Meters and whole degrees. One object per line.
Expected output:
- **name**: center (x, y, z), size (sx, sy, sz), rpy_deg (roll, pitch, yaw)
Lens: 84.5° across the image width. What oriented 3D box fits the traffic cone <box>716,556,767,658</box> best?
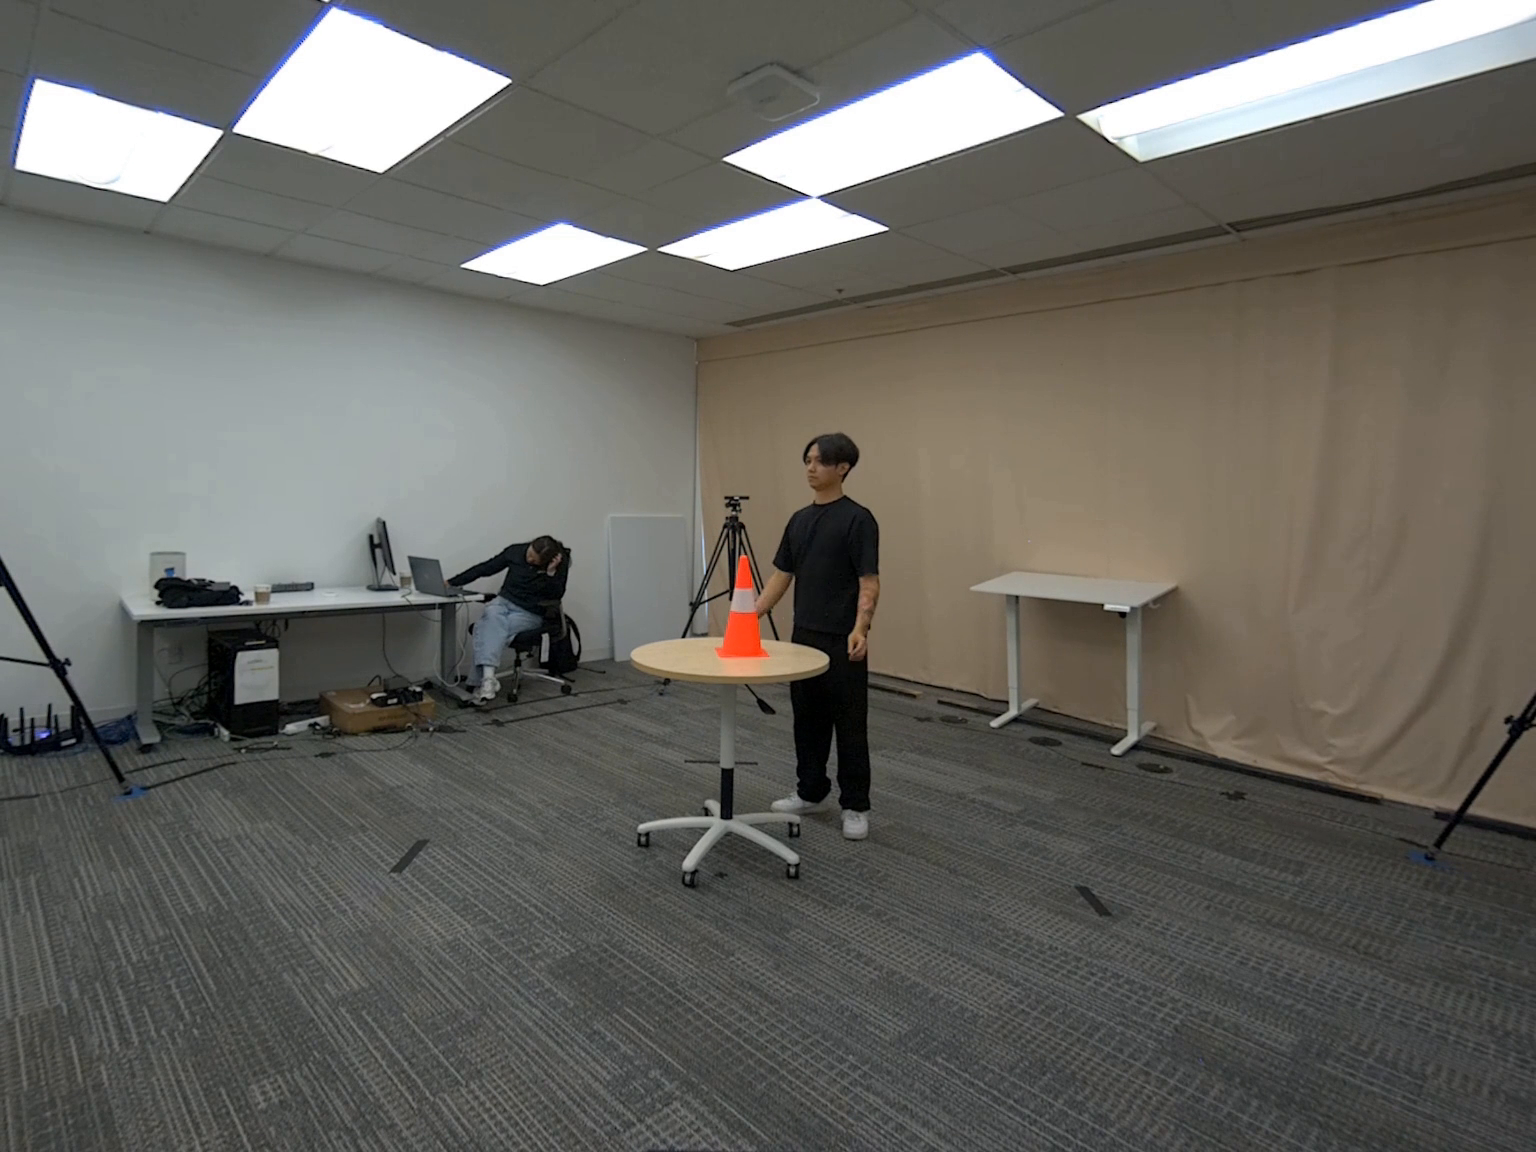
- **traffic cone**: center (-0.102, 0.116, 3.285), size (0.202, 0.382, 0.207), rpy_deg (0, 5, -9)
